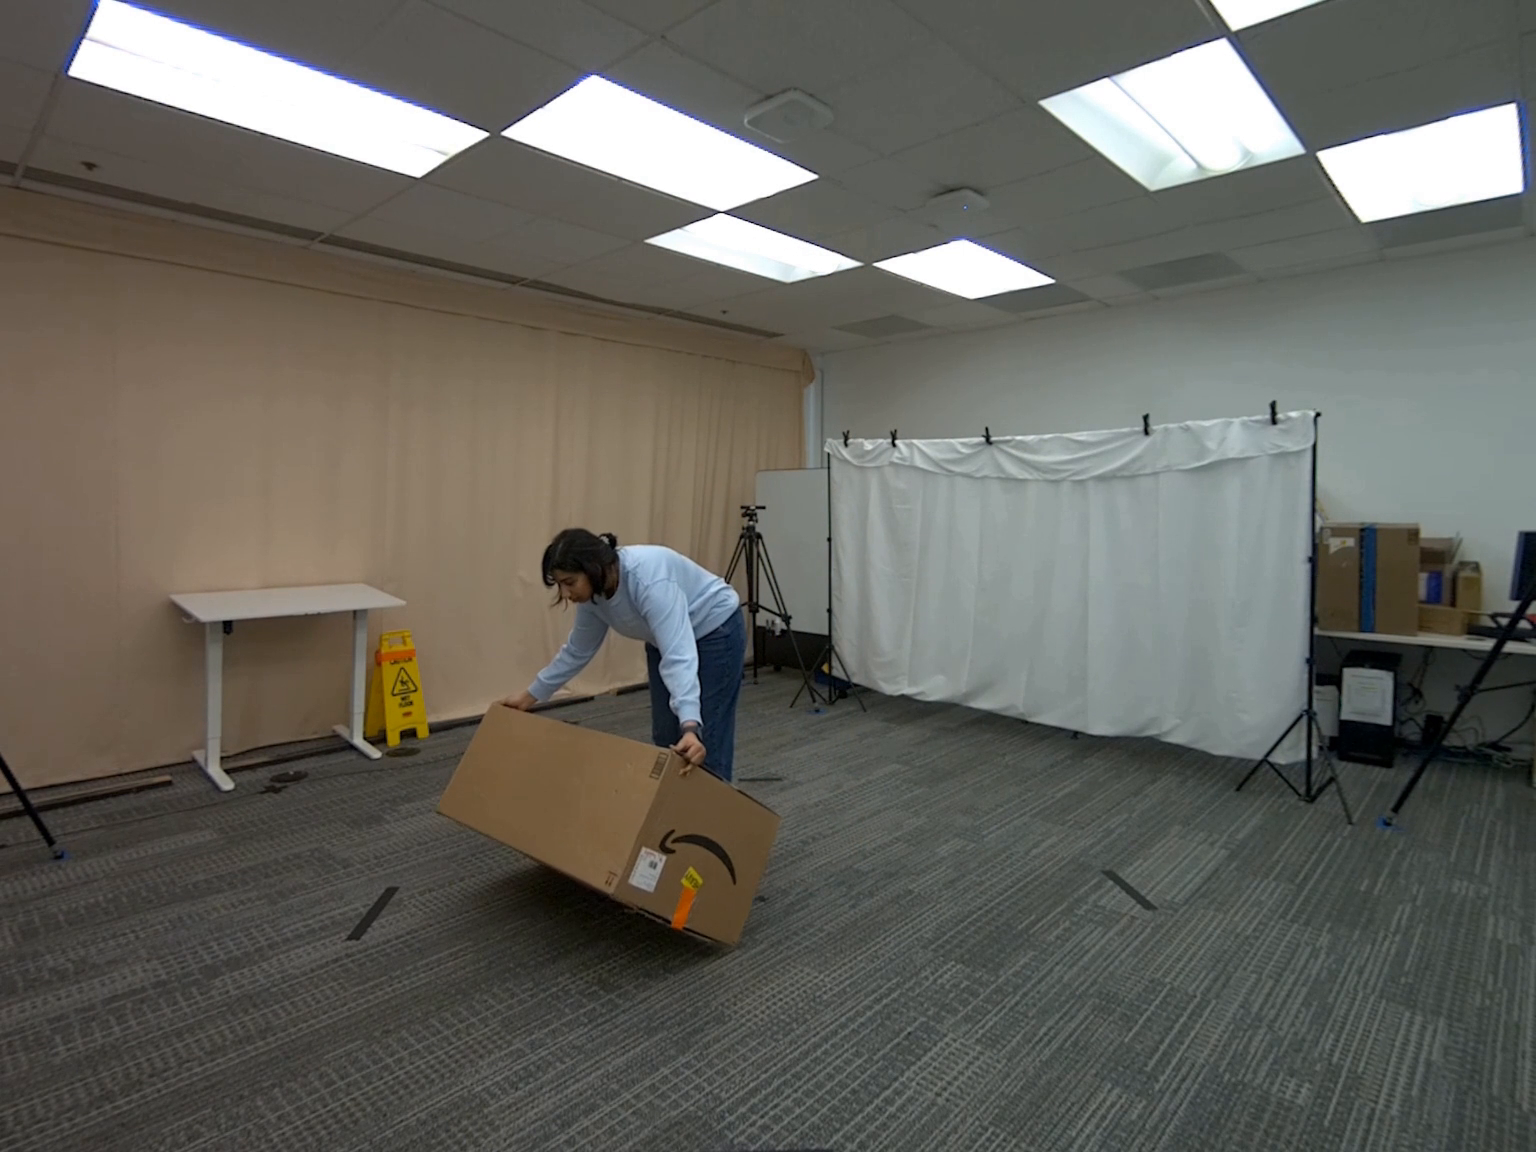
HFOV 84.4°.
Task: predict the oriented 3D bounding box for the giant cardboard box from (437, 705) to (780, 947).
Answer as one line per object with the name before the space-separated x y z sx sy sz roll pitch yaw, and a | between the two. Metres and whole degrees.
giant cardboard box | -0.568 0.815 2.879 1.059 0.427 0.557 2 -30 43
